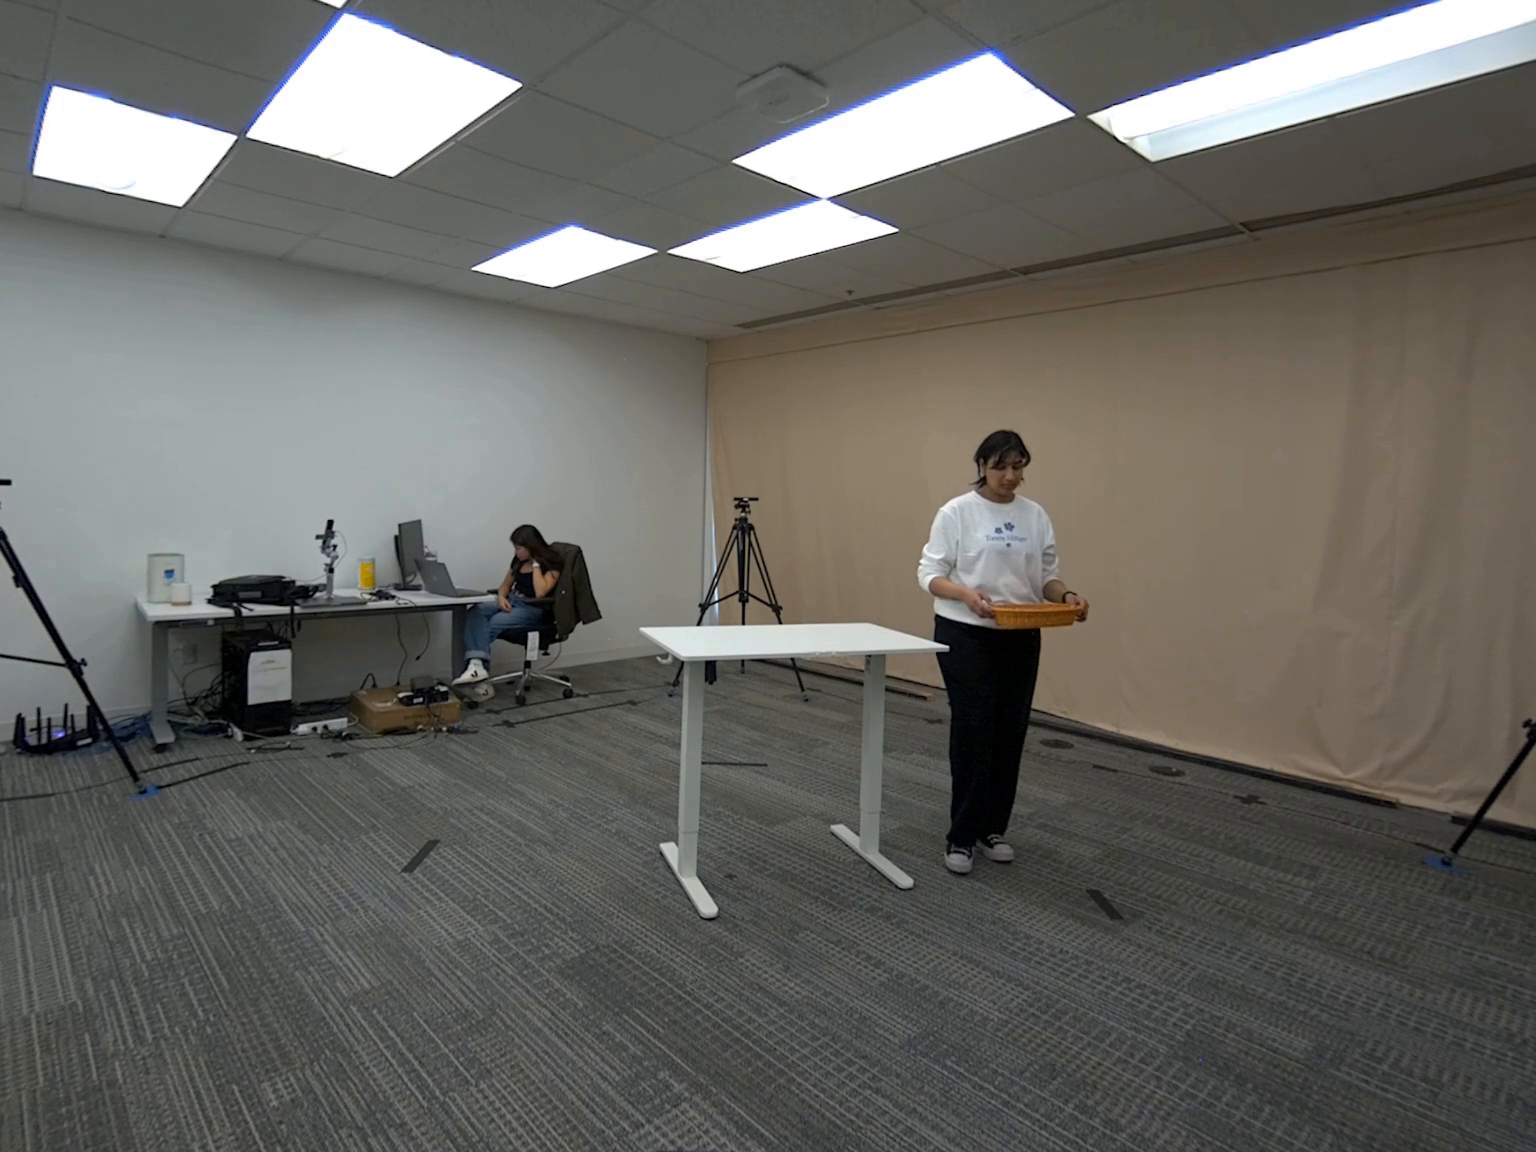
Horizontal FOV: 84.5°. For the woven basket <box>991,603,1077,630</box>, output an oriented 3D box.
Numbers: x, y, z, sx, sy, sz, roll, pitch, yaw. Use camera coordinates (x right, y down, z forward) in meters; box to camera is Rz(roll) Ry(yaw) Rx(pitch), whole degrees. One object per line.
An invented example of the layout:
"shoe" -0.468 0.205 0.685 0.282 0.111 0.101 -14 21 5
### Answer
"woven basket" 0.969 0.147 3.082 0.346 0.073 0.256 -3 4 -16
